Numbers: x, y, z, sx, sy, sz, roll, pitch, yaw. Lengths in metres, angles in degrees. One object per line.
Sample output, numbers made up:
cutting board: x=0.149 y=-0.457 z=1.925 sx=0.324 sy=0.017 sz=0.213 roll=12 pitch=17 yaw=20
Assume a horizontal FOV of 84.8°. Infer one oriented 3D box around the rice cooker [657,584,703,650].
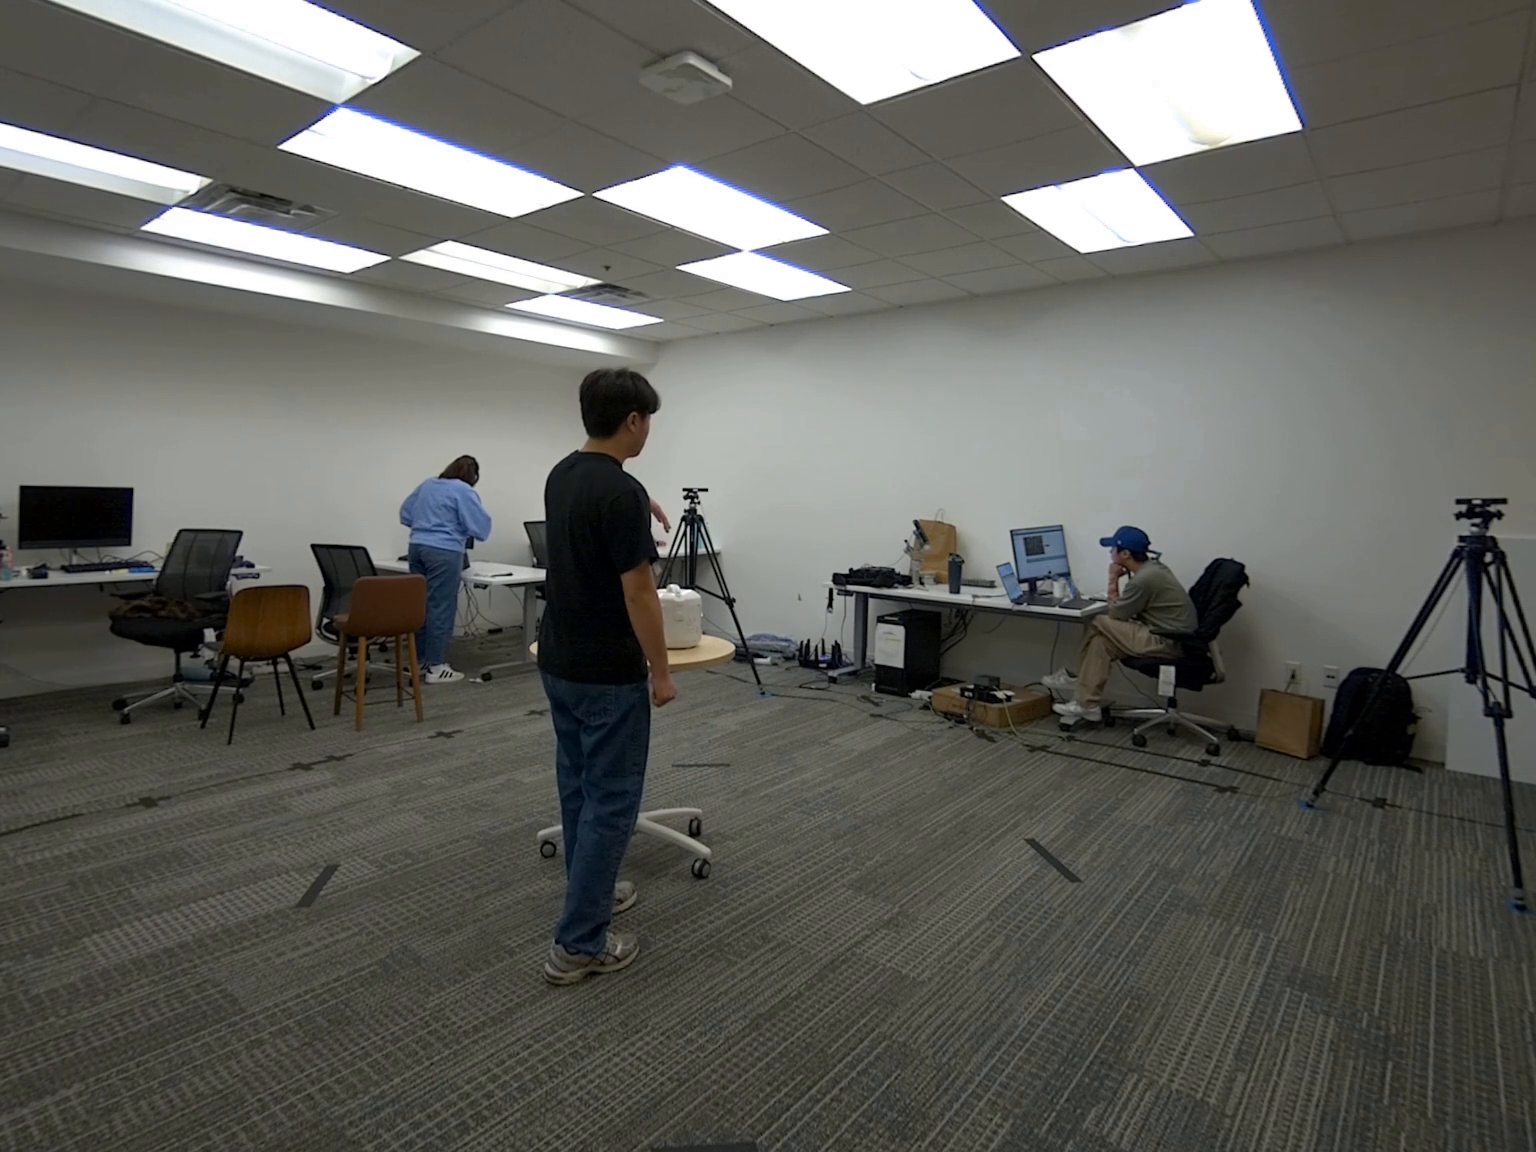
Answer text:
rice cooker: x=-0.362 y=0.142 z=3.211 sx=0.214 sy=0.232 sz=0.225 roll=-1 pitch=4 yaw=-17
